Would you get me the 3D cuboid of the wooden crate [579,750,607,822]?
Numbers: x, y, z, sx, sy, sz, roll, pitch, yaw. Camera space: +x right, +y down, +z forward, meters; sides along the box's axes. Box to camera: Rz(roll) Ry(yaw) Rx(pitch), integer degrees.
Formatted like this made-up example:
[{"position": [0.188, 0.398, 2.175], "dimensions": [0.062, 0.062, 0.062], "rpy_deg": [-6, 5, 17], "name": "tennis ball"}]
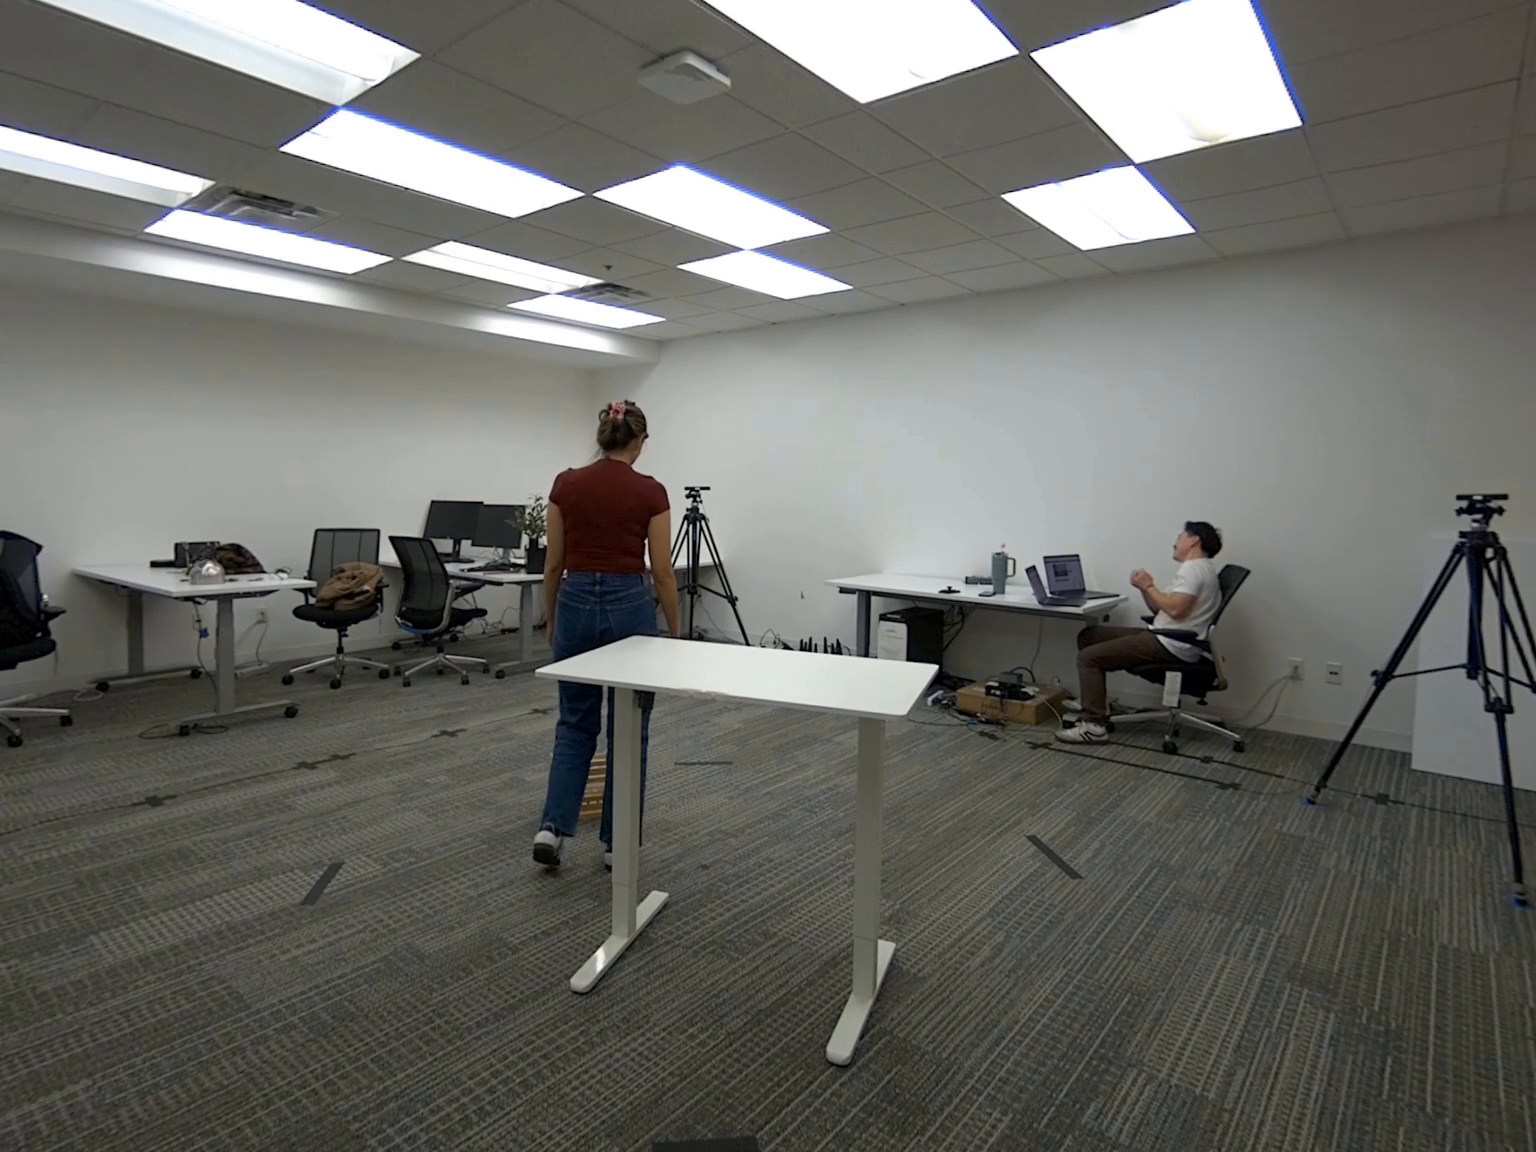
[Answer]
[{"position": [-0.794, 0.866, 3.641], "dimensions": [0.318, 0.272, 0.310], "rpy_deg": [-1, 5, -22], "name": "wooden crate"}]
